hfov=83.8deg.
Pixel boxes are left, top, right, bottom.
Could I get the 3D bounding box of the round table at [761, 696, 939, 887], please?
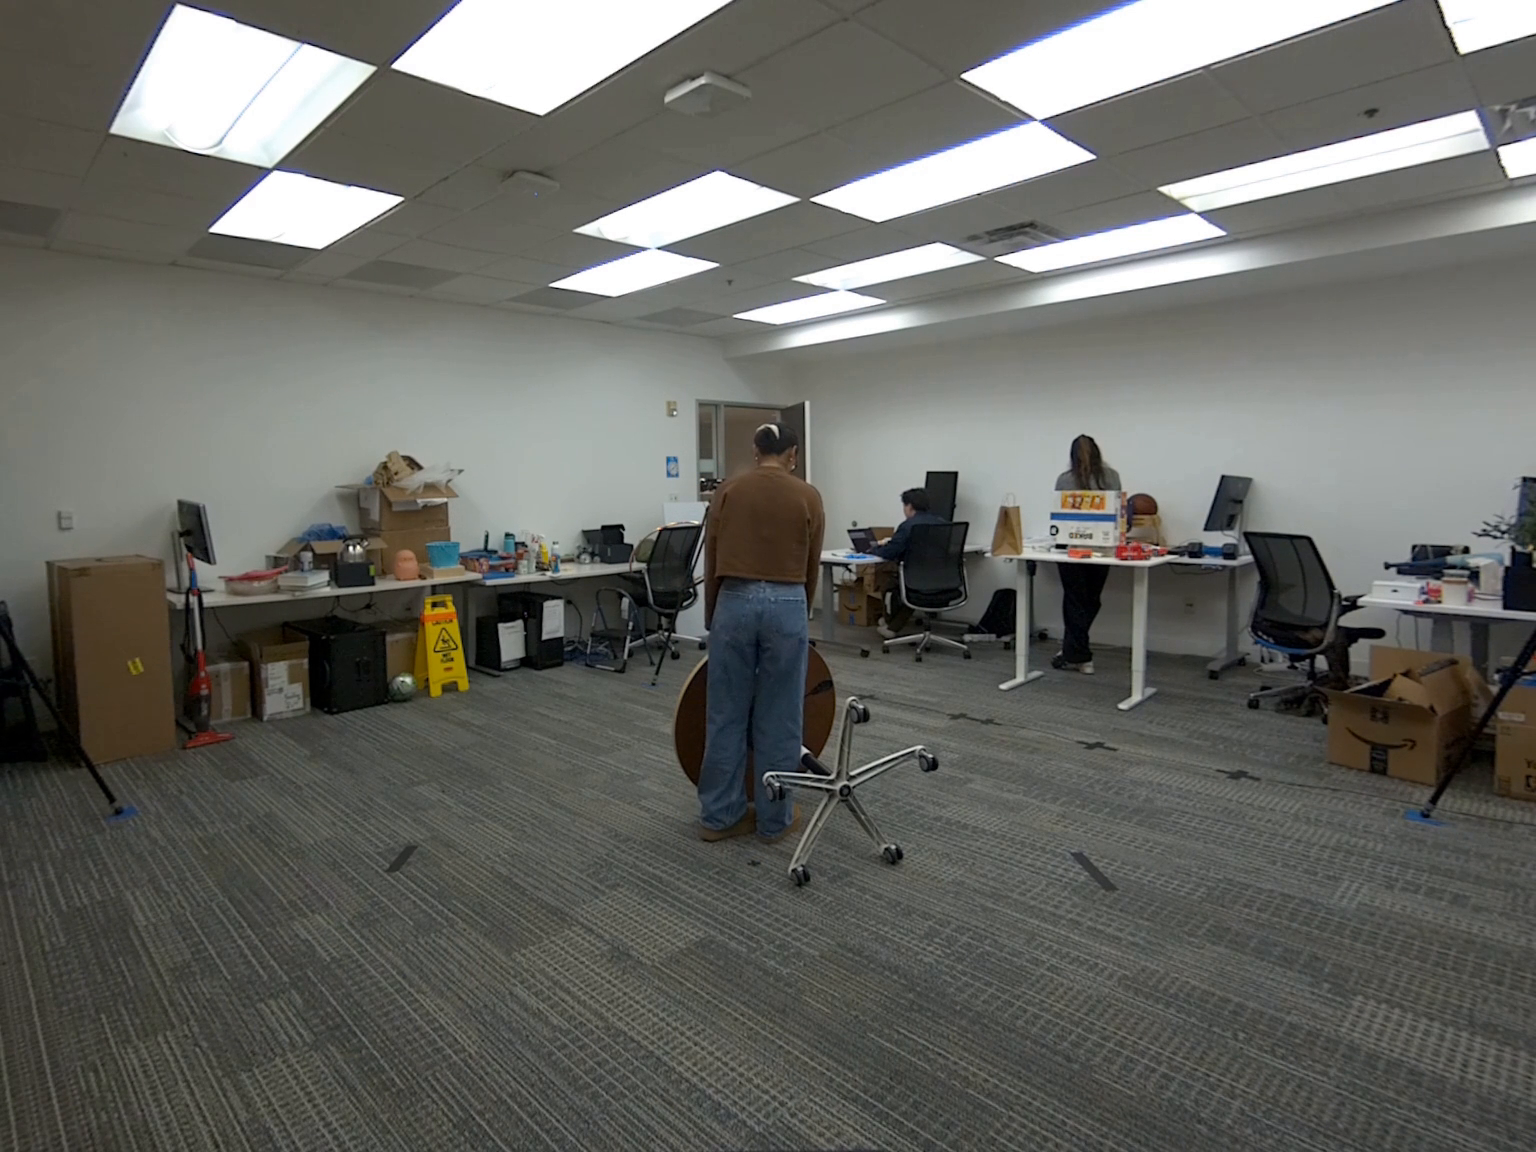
[{"bbox_3d":[0.134,0.685,3.300,0.748,0.756,0.819,-3,13,-26],"label":"round table"}]
